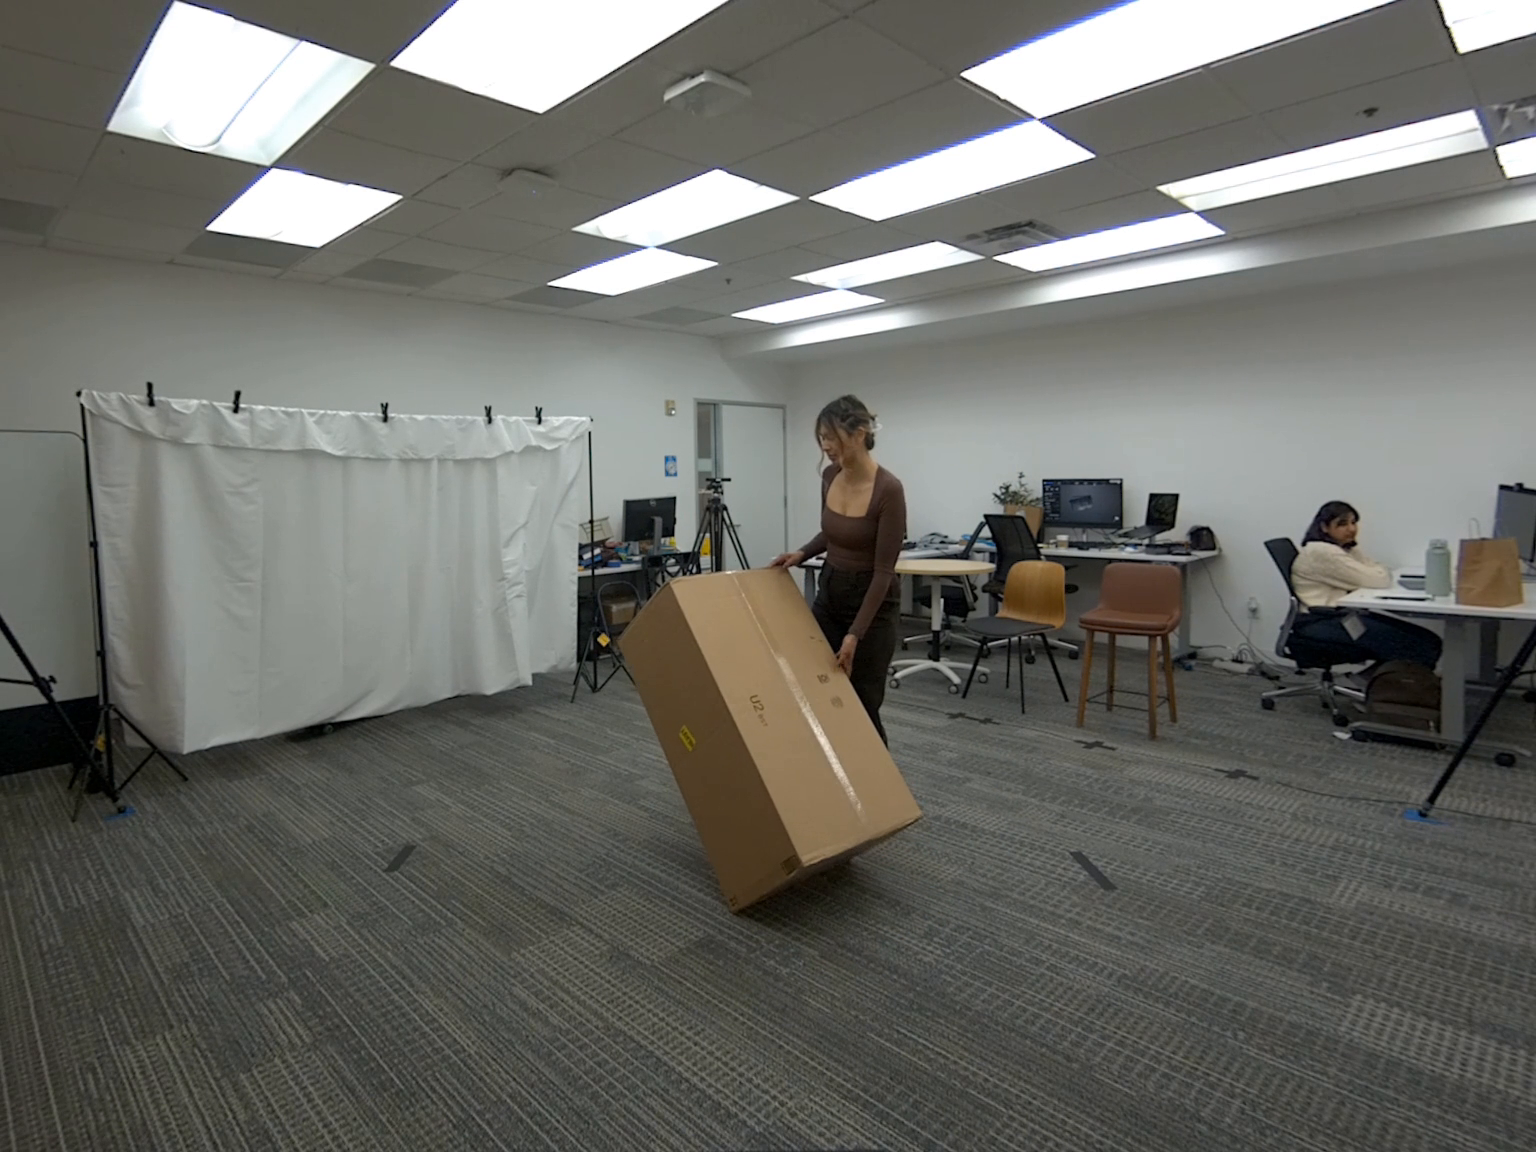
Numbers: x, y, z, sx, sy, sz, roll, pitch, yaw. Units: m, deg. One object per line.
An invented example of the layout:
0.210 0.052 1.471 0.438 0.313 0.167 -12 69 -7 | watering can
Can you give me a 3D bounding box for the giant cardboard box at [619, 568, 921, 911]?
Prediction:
-0.026 0.524 3.019 0.569 1.057 0.445 -6 -33 -41 | giant cardboard box
